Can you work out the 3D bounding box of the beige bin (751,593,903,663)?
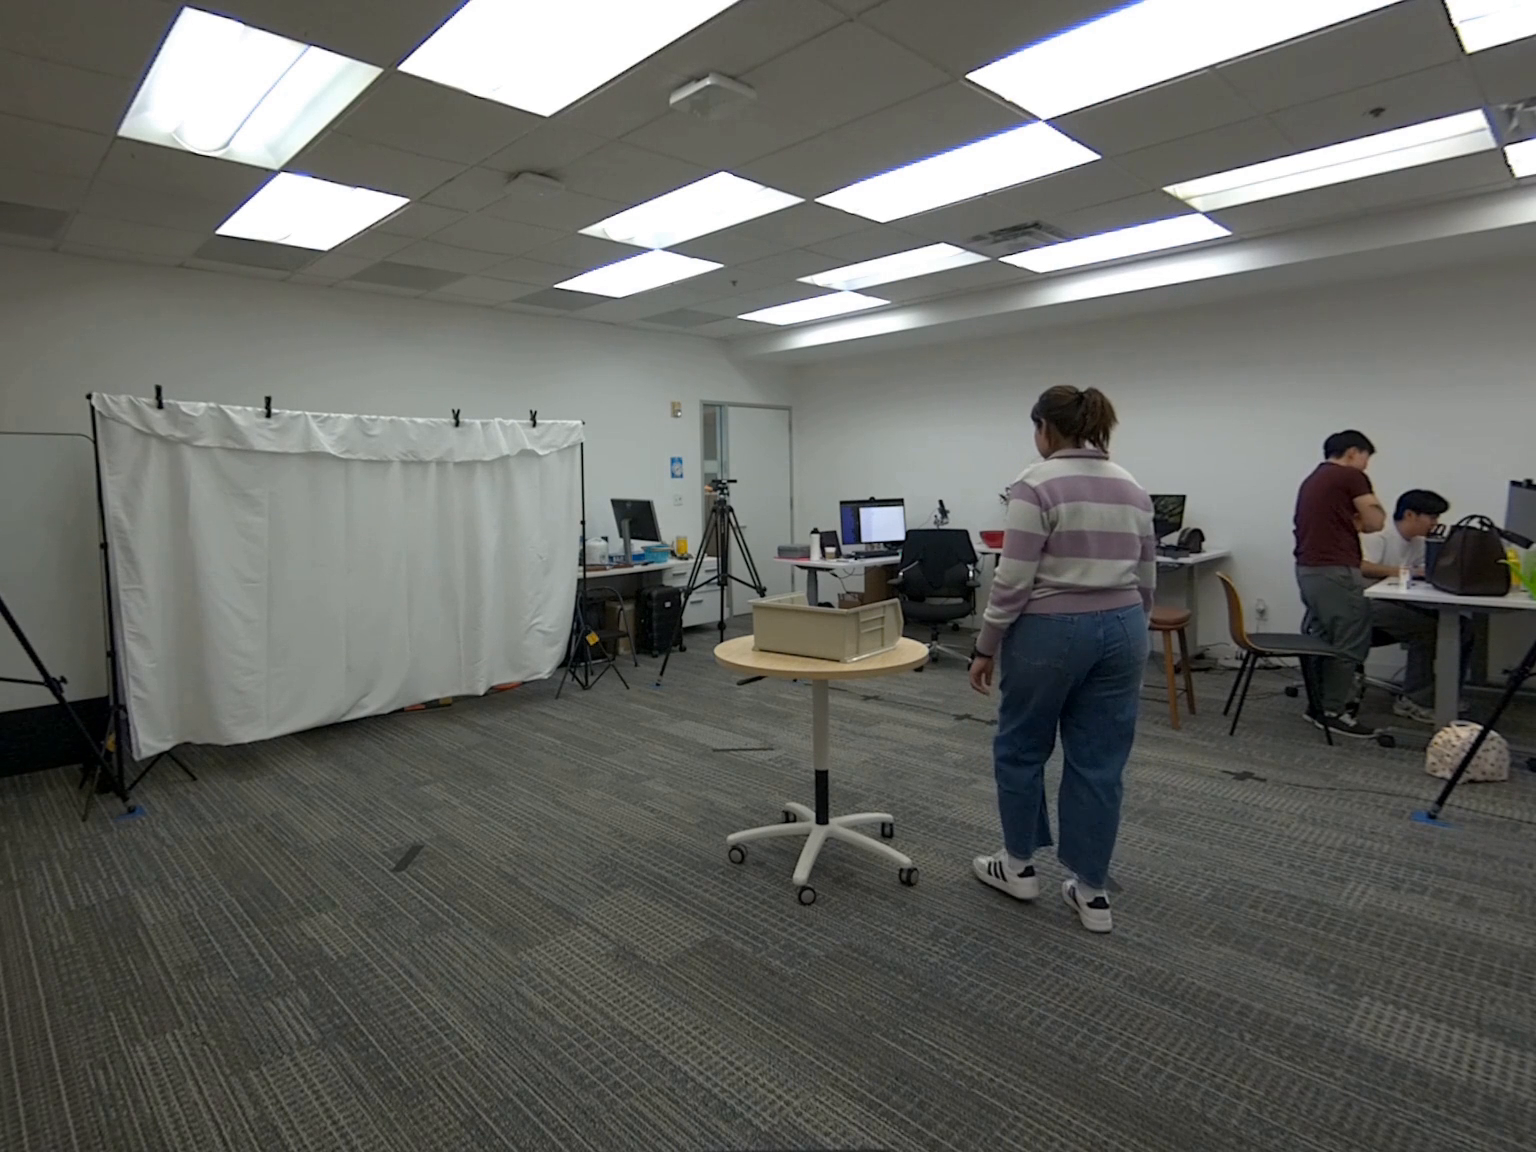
[{"bbox_3d":[0.206,0.176,3.070,0.435,0.188,0.368,4,9,39],"label":"beige bin"}]
